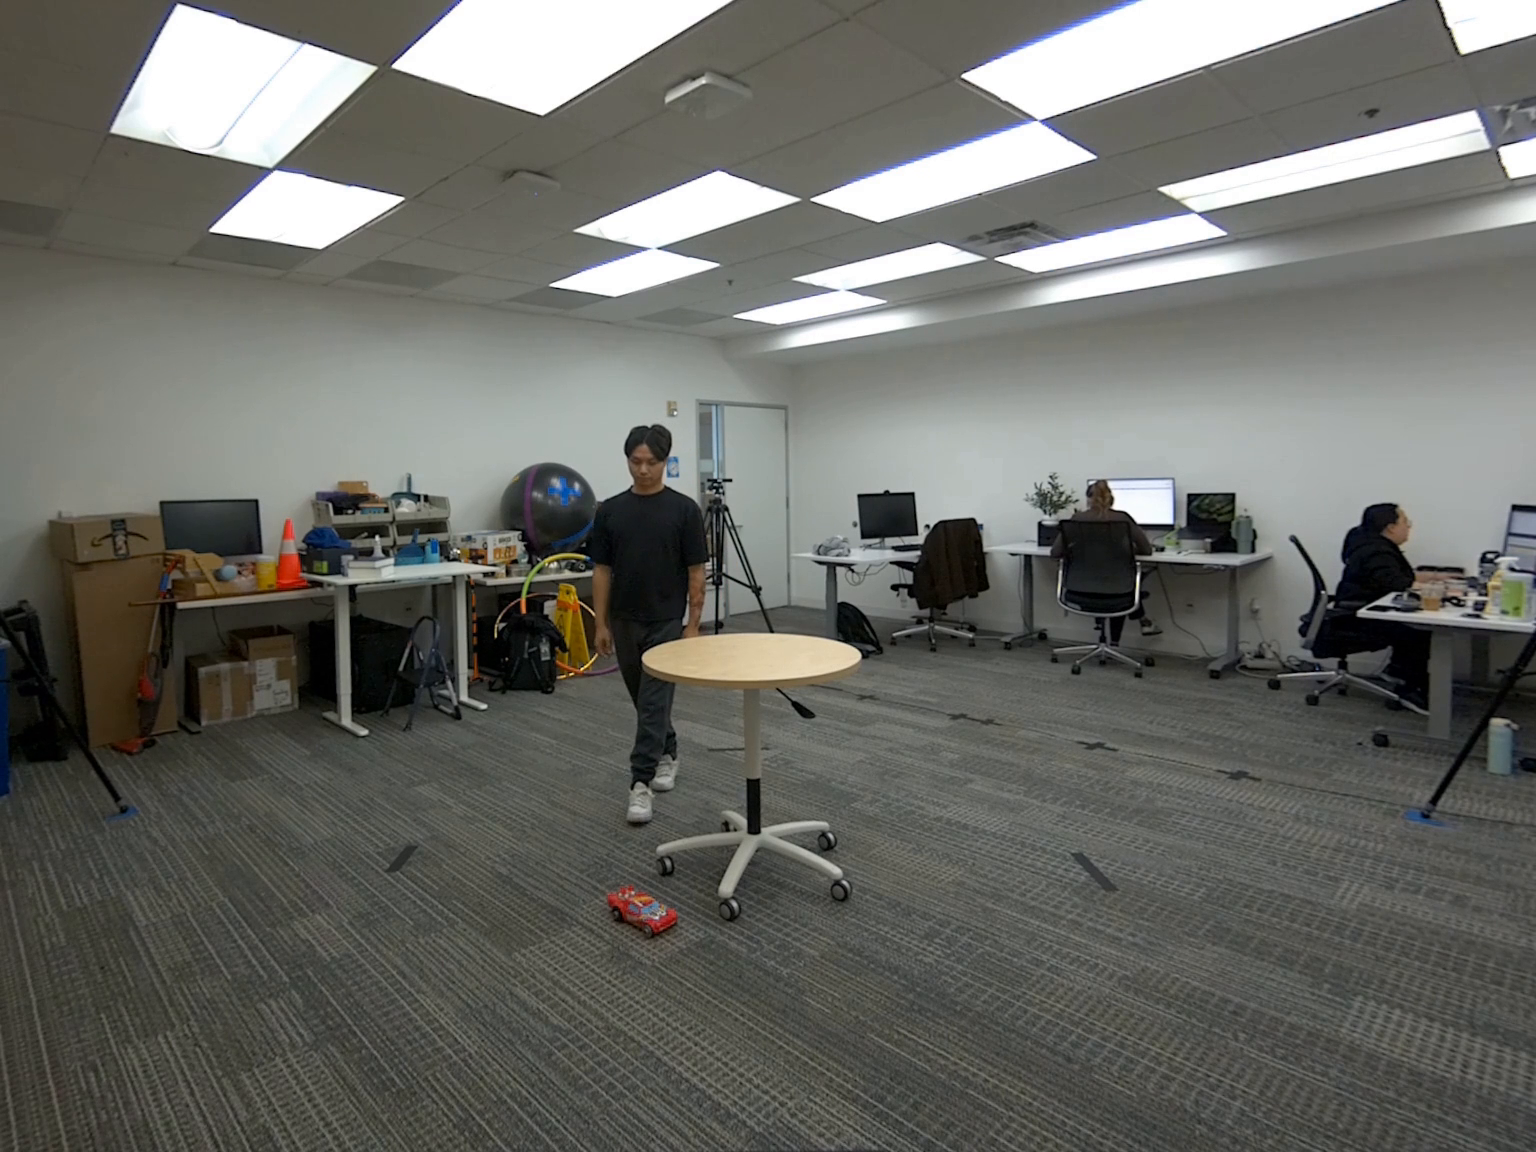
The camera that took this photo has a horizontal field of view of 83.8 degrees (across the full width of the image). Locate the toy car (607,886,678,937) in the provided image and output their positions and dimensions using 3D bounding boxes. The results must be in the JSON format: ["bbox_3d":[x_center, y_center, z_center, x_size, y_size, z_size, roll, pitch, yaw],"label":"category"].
[{"bbox_3d":[-0.407,1.066,2.719,0.264,0.082,0.127,18,18,40],"label":"toy car"}]
